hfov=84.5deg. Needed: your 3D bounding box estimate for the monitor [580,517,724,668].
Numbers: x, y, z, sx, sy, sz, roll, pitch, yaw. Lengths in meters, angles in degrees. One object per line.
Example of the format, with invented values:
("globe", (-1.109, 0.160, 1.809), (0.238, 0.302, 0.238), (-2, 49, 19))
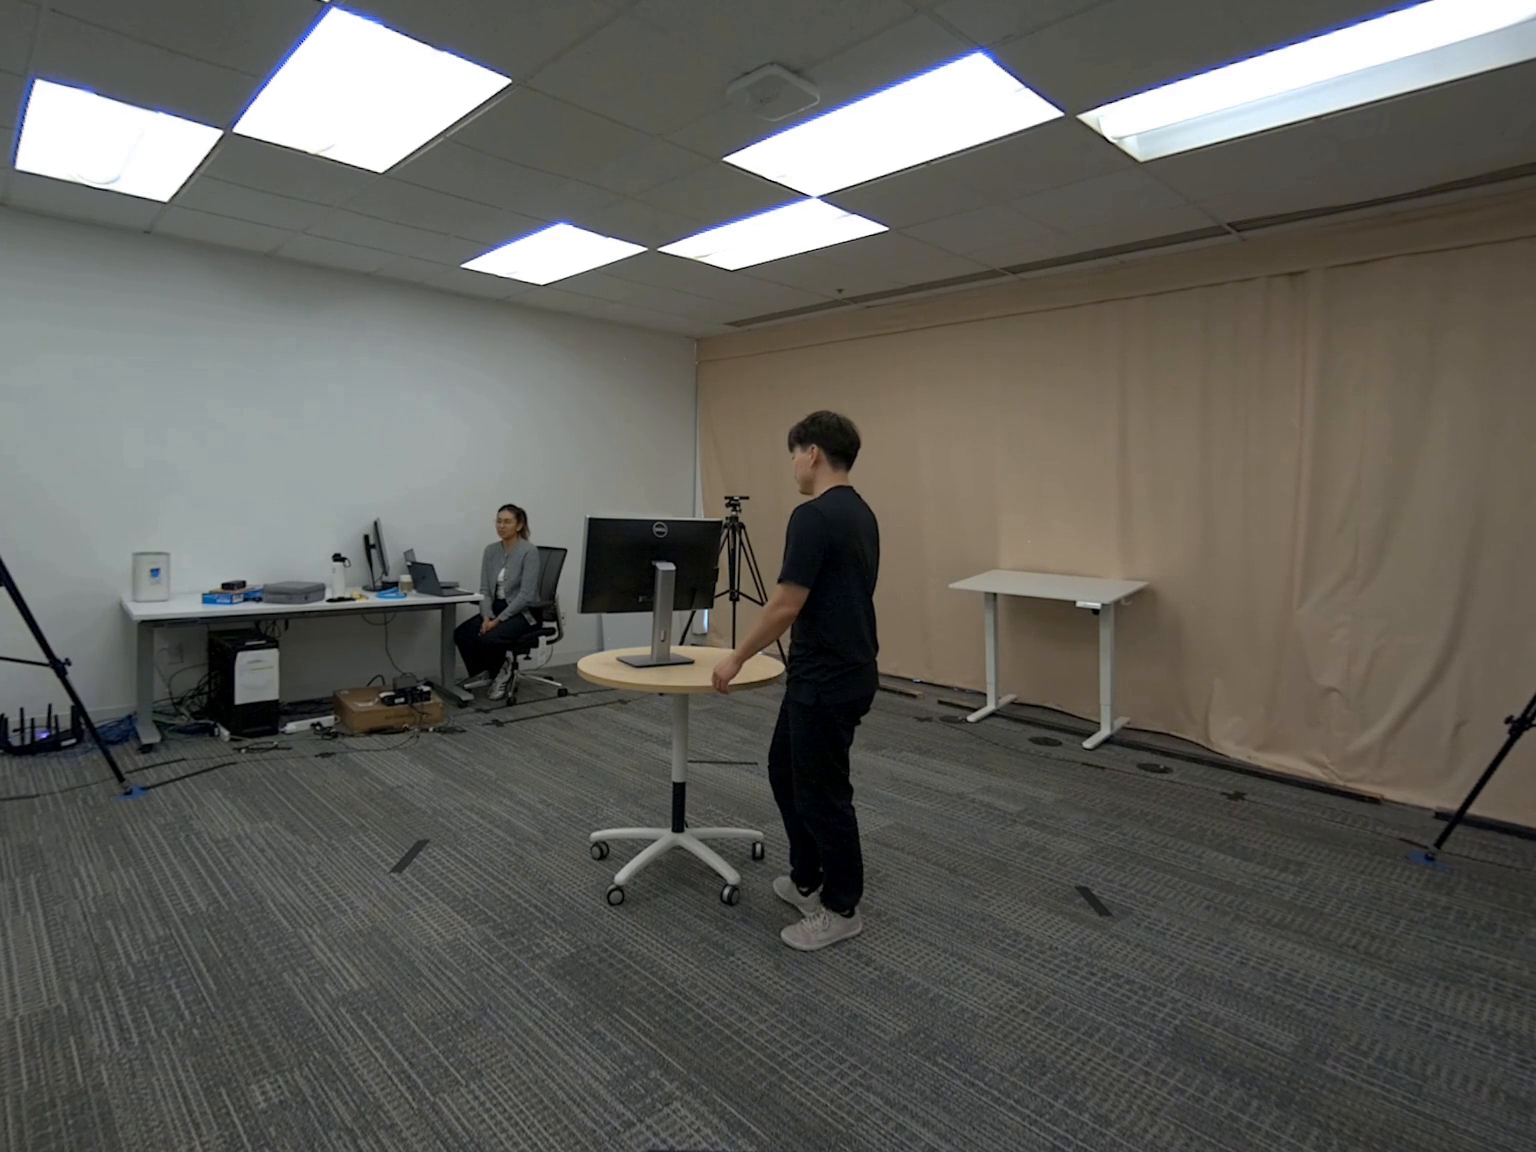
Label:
("monitor", (-0.416, 0.057, 3.132), (0.527, 0.522, 0.191), (-1, 2, -34))
